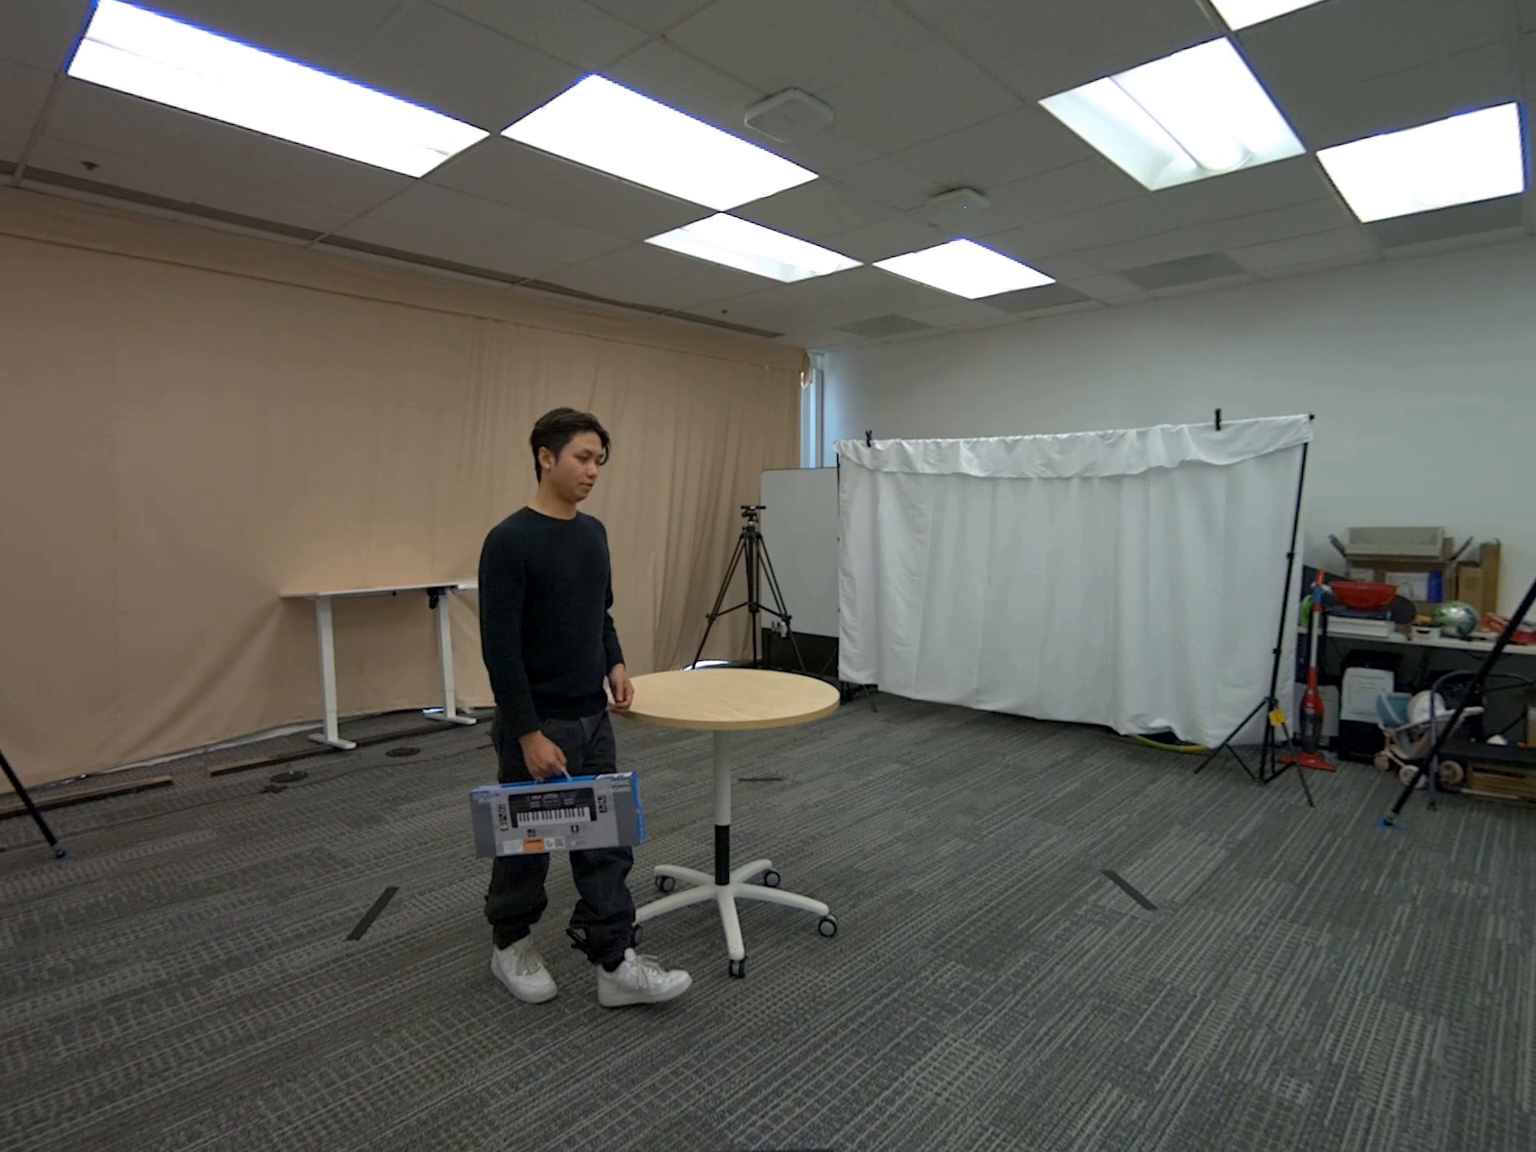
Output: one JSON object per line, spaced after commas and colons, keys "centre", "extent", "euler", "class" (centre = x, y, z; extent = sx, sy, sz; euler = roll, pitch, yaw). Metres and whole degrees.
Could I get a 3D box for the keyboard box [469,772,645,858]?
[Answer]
{"centre": [-0.542, 0.611, 2.168], "extent": [0.440, 0.176, 0.058], "euler": [-7, -1, 8], "class": "keyboard box"}
